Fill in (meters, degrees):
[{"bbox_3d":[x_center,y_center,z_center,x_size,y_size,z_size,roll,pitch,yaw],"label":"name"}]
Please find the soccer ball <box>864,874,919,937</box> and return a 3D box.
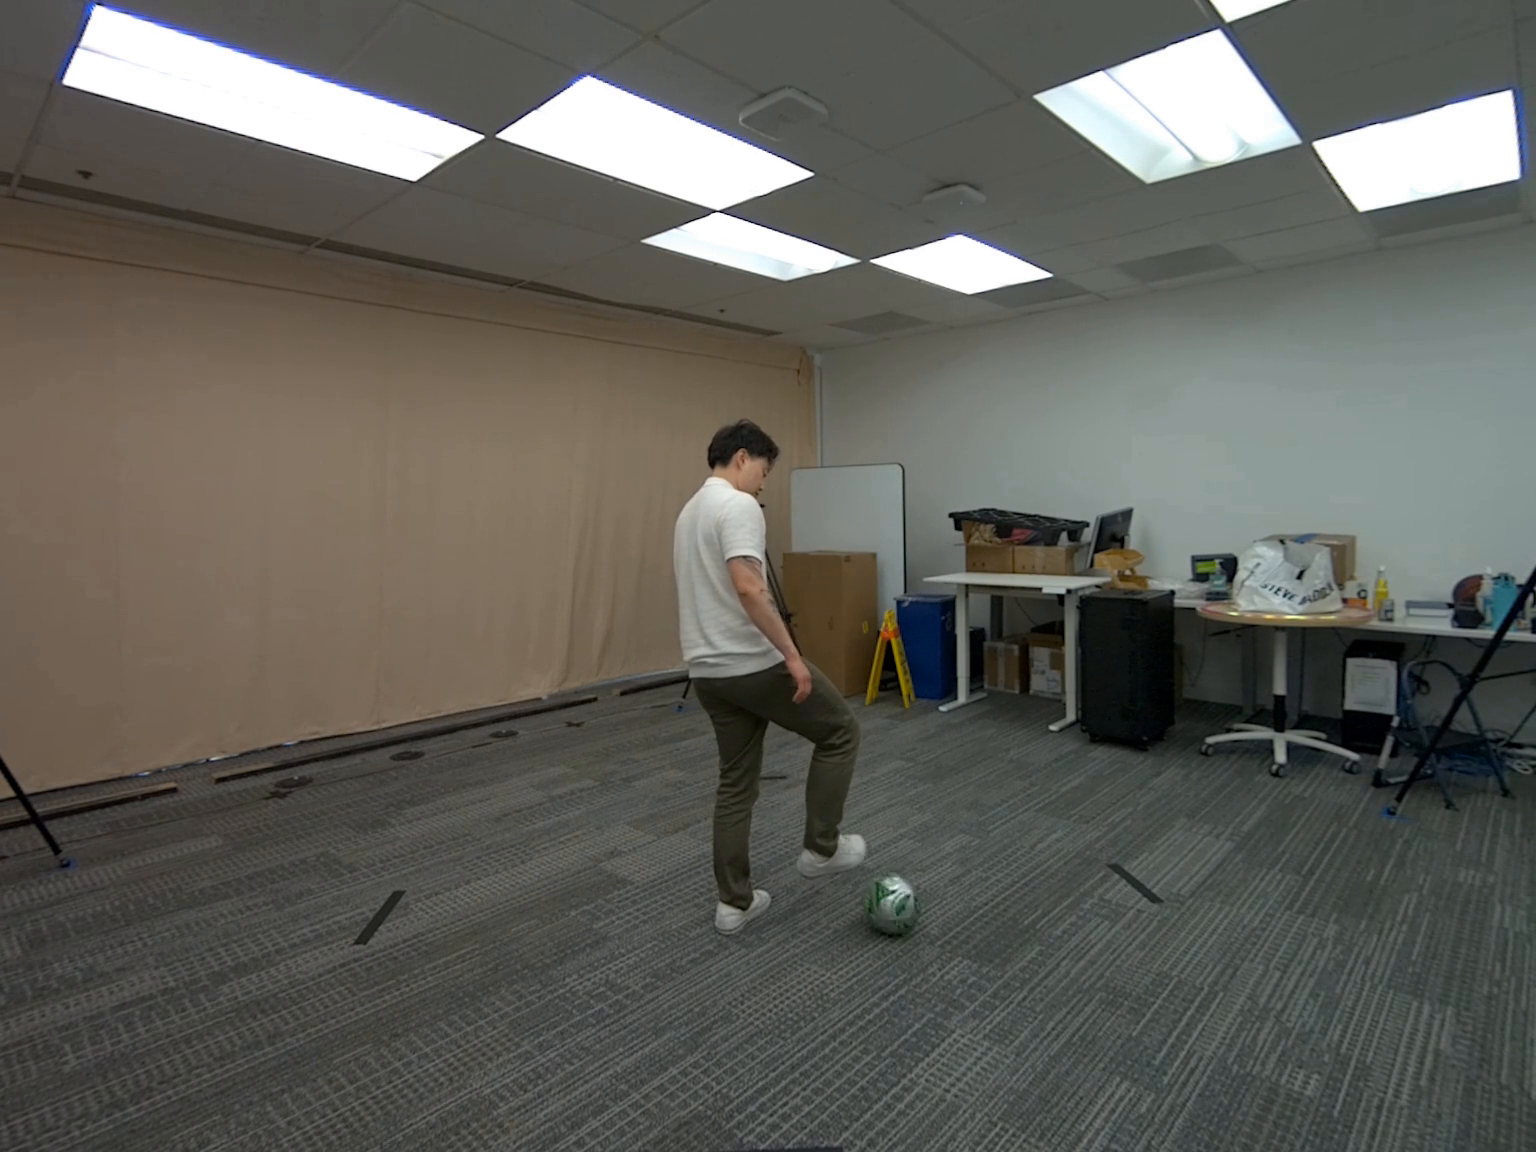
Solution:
[{"bbox_3d":[0.407,1.063,2.722,0.187,0.187,0.188,-1,4,-2],"label":"soccer ball"}]
